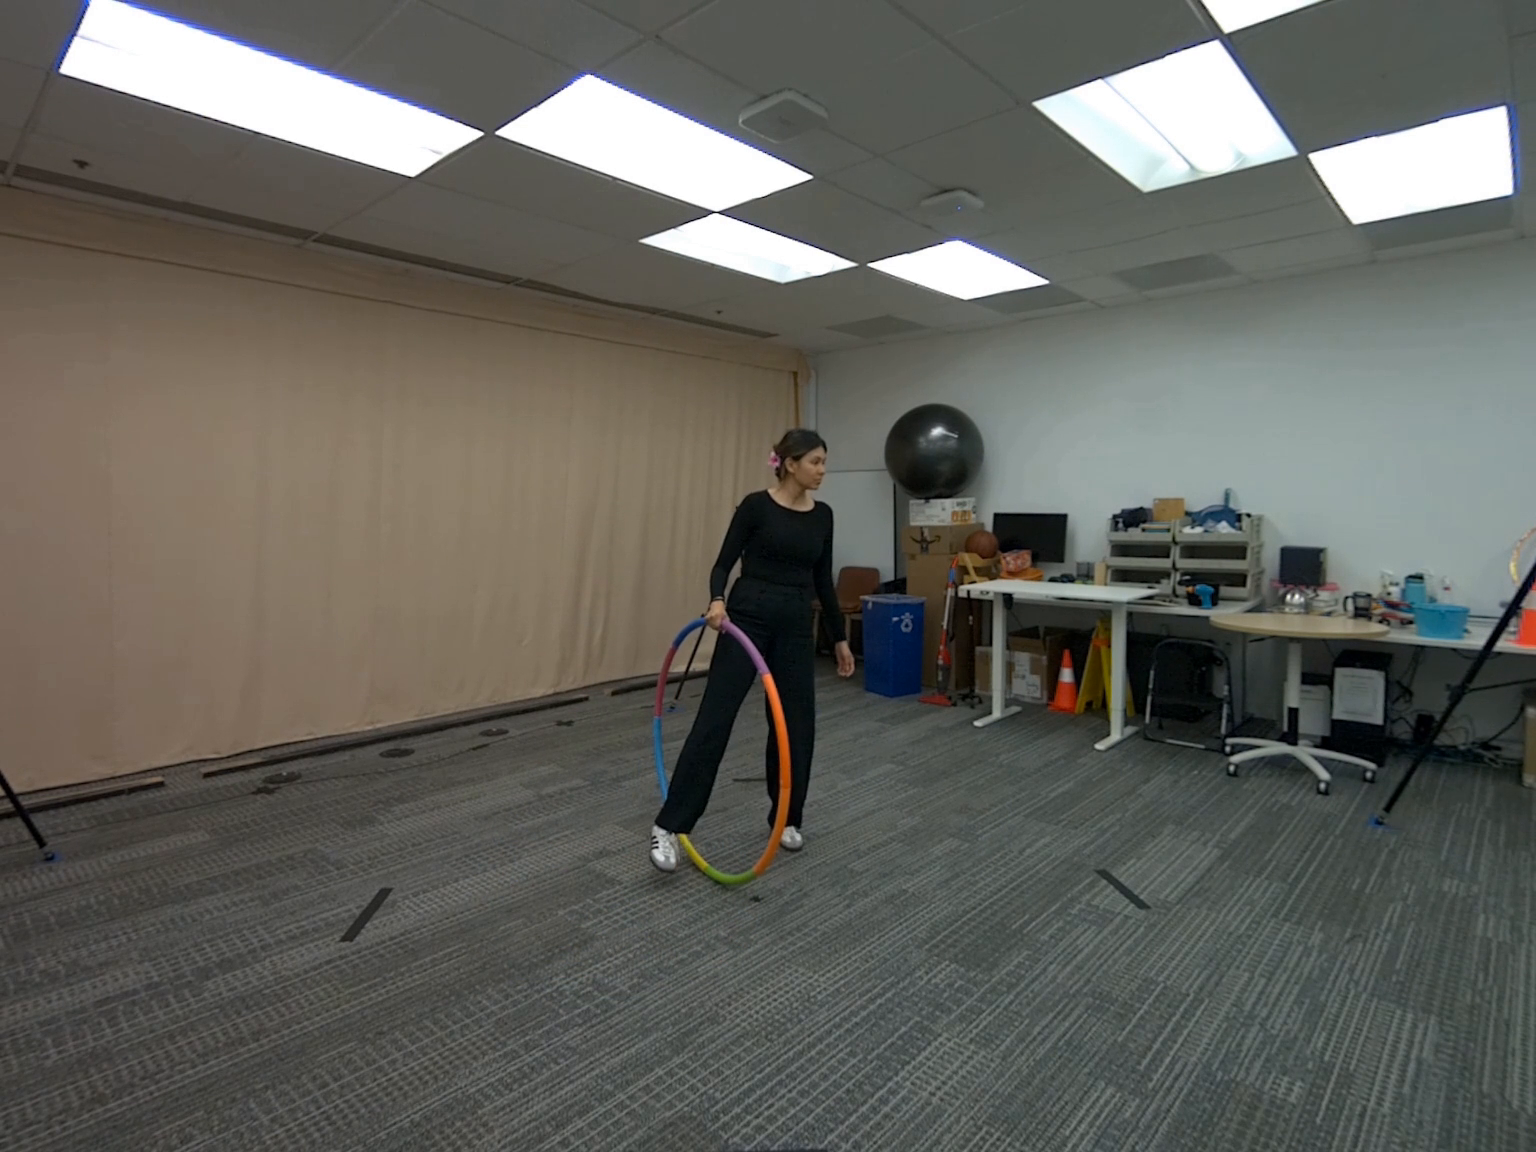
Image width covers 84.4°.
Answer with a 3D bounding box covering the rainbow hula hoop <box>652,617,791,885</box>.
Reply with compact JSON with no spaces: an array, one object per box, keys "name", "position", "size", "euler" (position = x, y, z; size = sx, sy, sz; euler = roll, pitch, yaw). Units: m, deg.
[{"name":"rainbow hula hoop","position":[-0.206,0.640,3.166],"size":[0.034,0.977,1.008],"euler":[2,2,-32]}]
